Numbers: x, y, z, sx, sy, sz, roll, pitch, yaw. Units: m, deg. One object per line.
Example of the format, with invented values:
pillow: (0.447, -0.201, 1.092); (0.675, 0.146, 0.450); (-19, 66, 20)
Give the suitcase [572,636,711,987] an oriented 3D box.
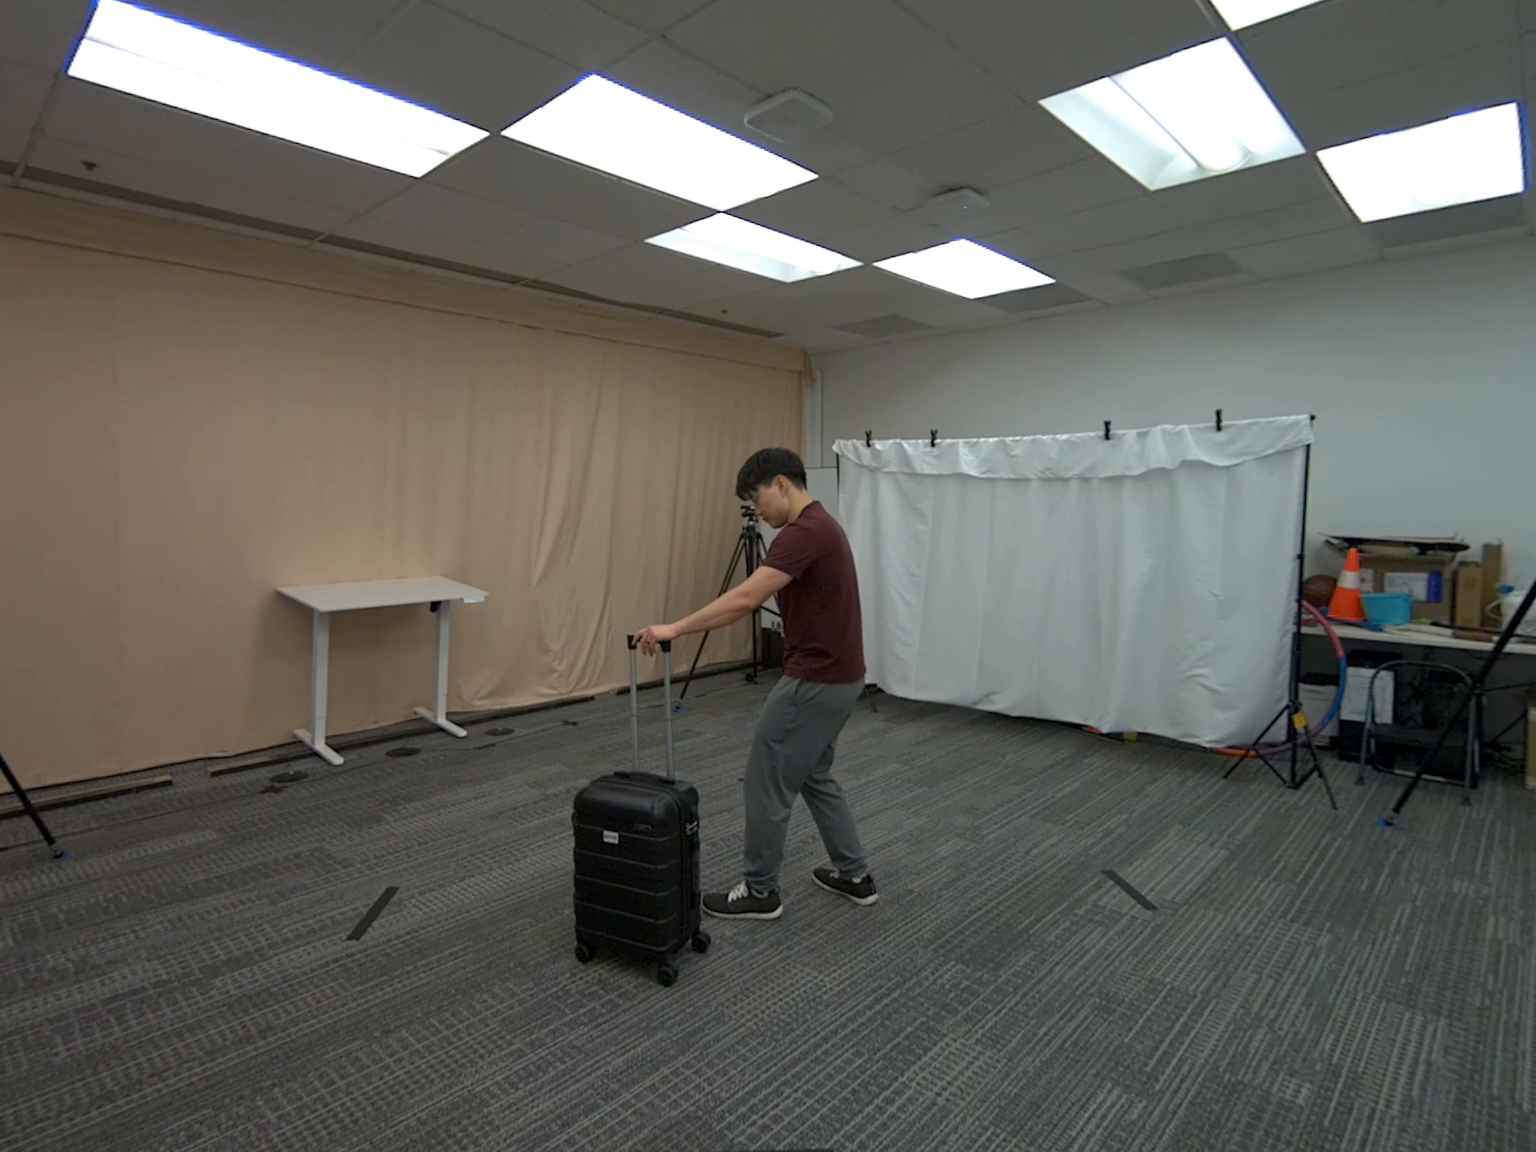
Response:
suitcase: (-0.408, 0.704, 2.594); (0.394, 0.977, 0.251); (-1, 3, 26)
